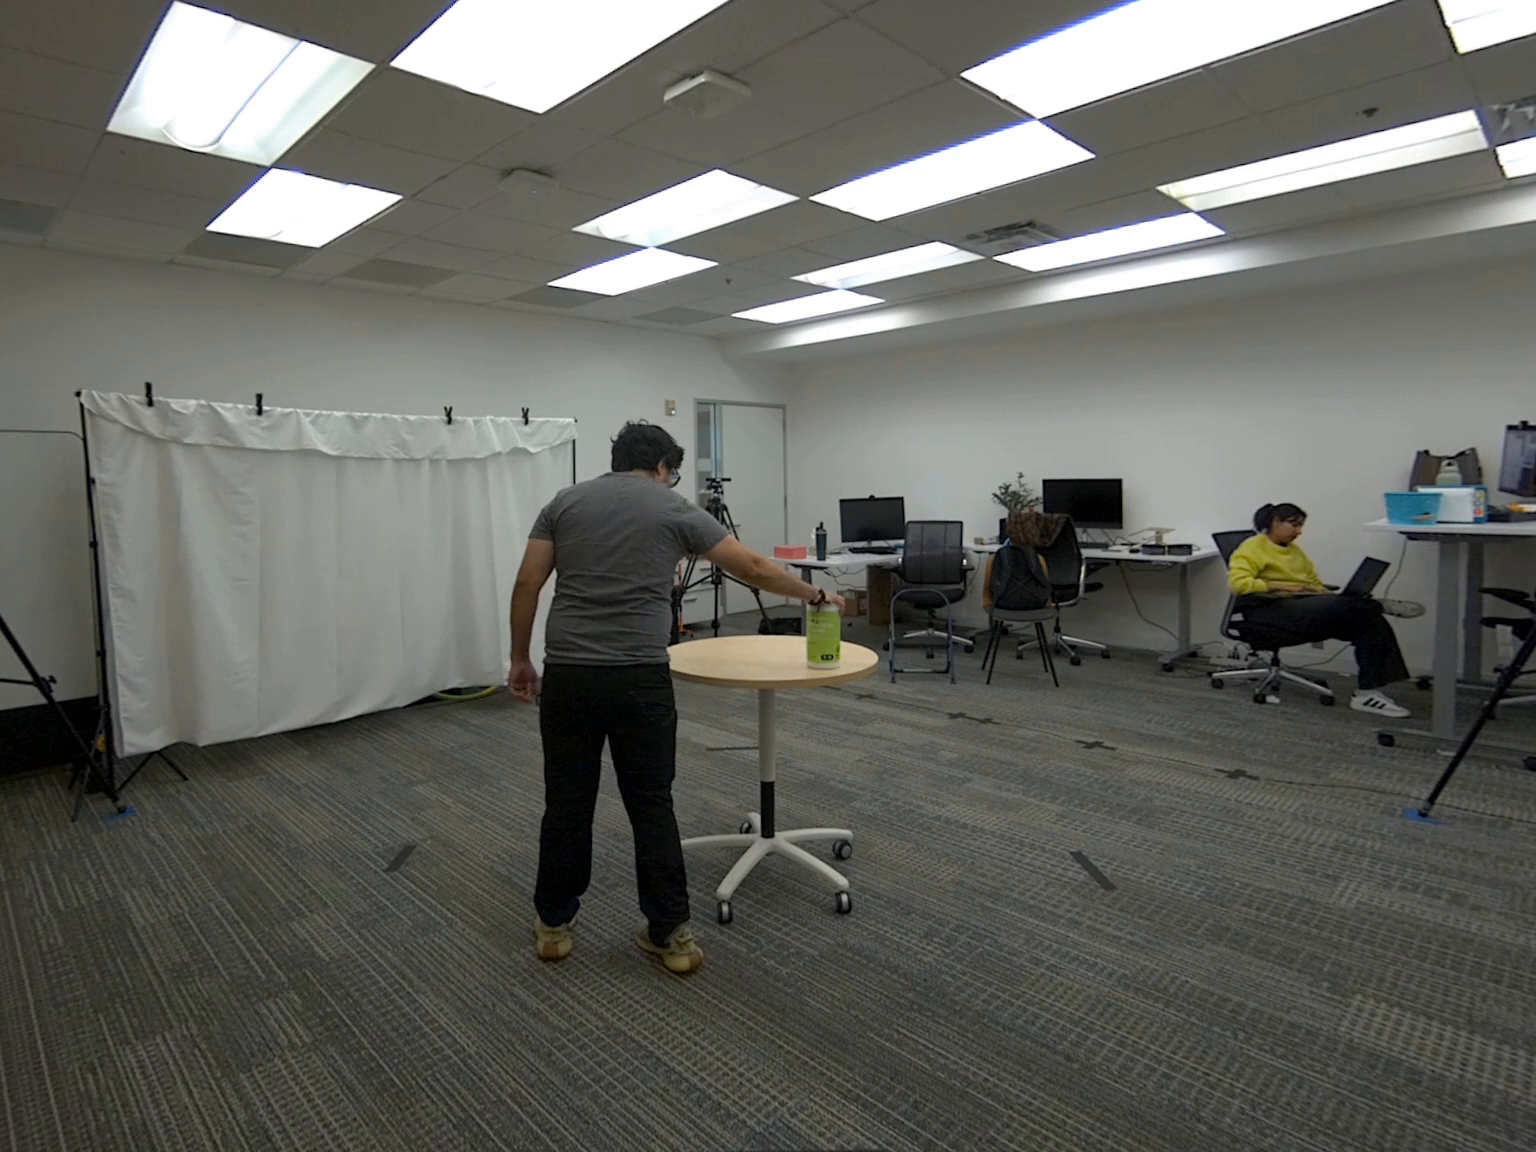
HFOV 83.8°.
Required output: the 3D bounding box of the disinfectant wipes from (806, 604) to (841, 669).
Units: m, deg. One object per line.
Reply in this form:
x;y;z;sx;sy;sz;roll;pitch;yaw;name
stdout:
0.183;0.188;2.770;0.118;0.216;0.118;-2;5;-1;disinfectant wipes
